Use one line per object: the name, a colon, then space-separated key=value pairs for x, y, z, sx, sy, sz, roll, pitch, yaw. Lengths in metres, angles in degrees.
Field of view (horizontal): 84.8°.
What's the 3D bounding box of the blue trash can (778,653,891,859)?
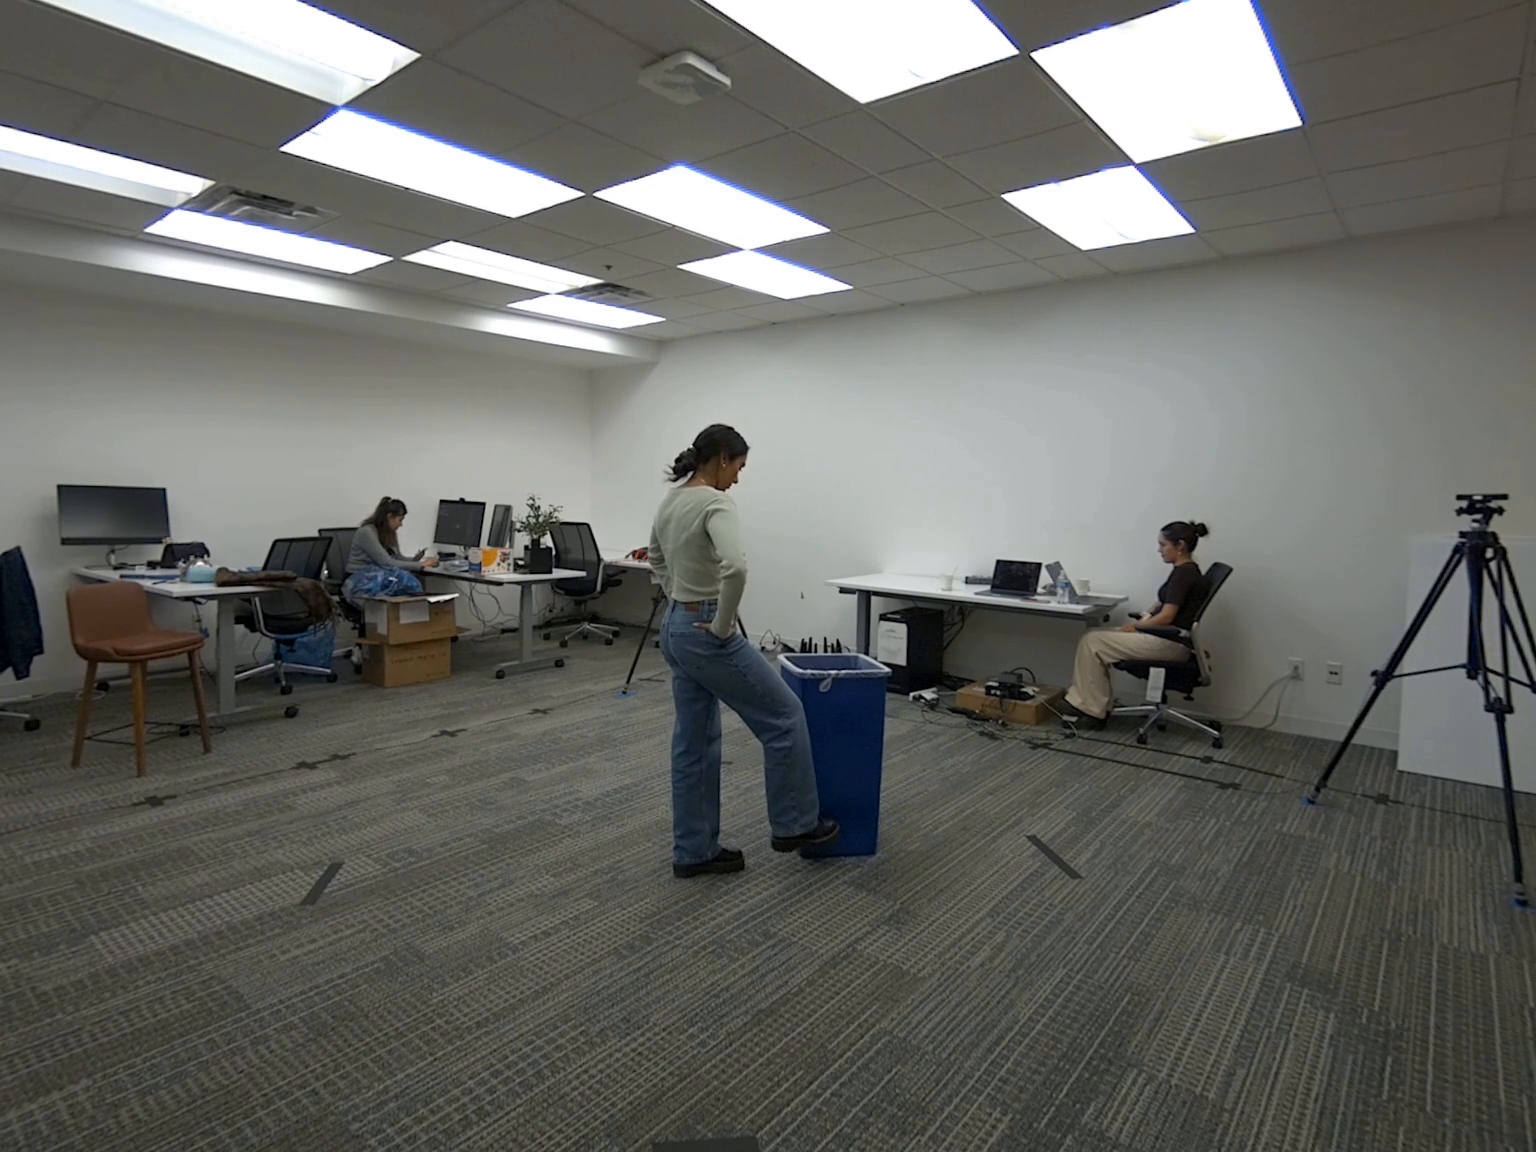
blue trash can: x=0.247 y=0.691 z=3.362 sx=0.369 sy=0.712 sz=0.384 roll=1 pitch=3 yaw=-13
